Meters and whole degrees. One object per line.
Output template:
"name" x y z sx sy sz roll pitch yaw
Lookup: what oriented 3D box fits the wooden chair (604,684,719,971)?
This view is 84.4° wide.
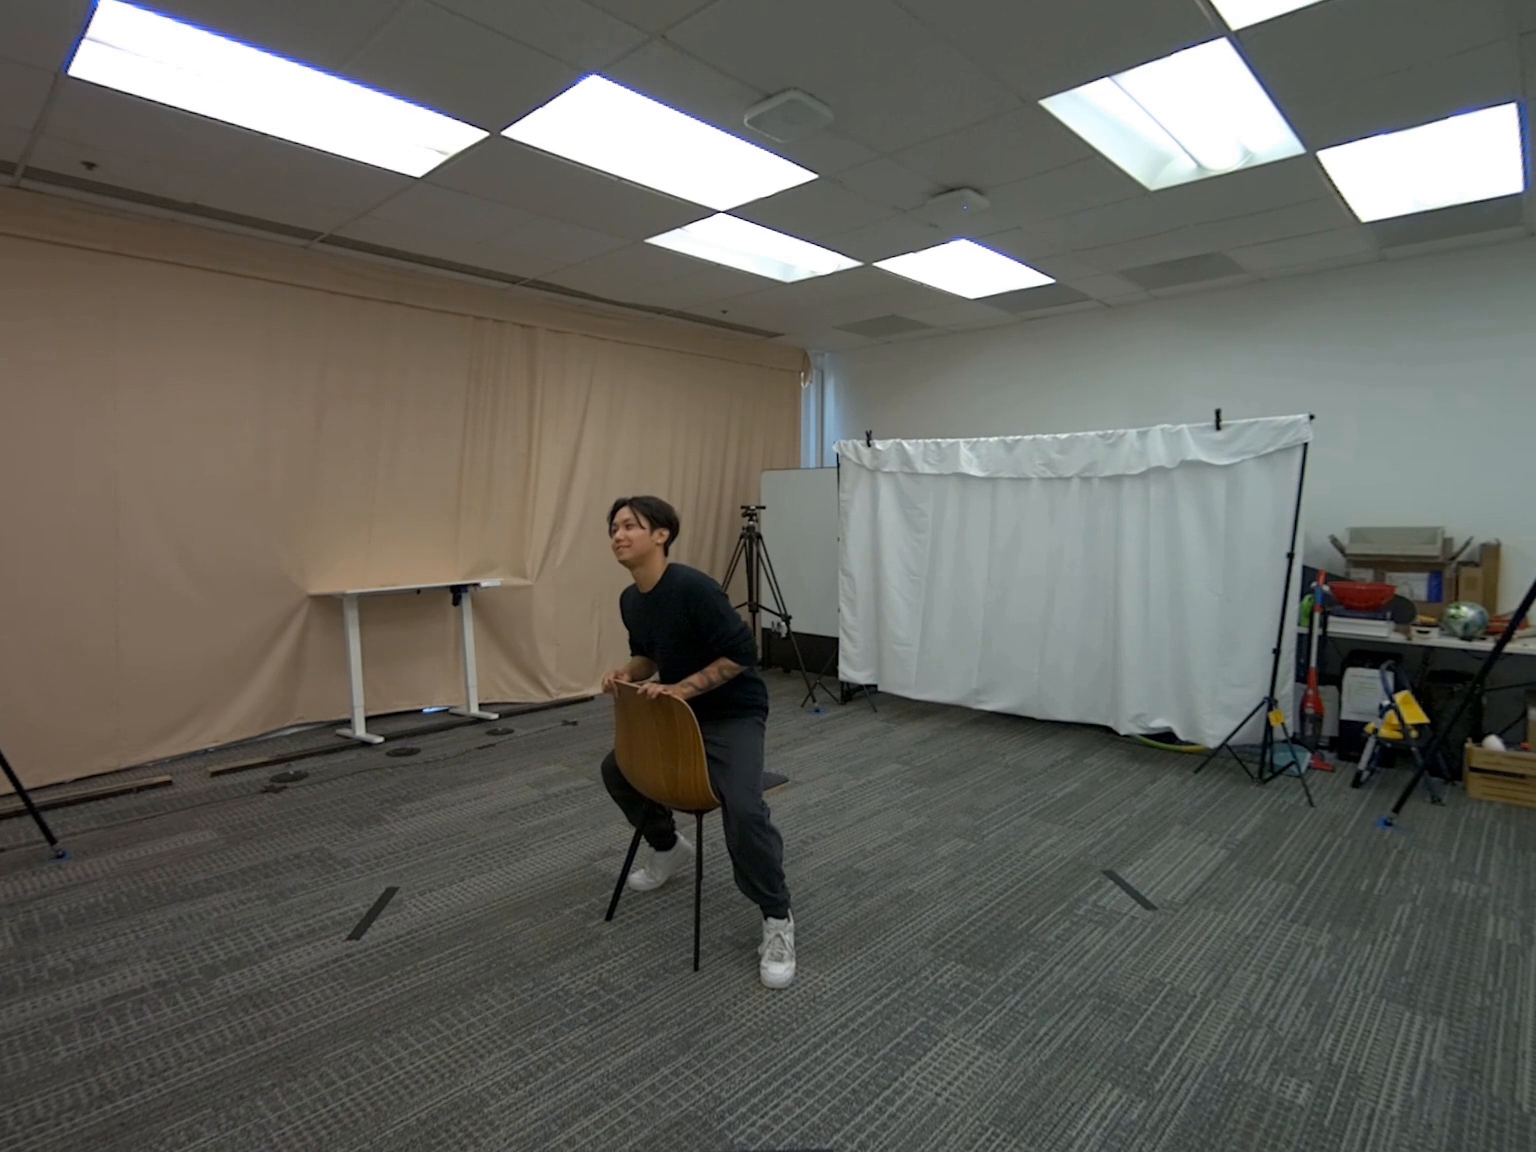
"wooden chair" -0.224 0.731 2.811 0.494 0.873 0.508 3 9 44
